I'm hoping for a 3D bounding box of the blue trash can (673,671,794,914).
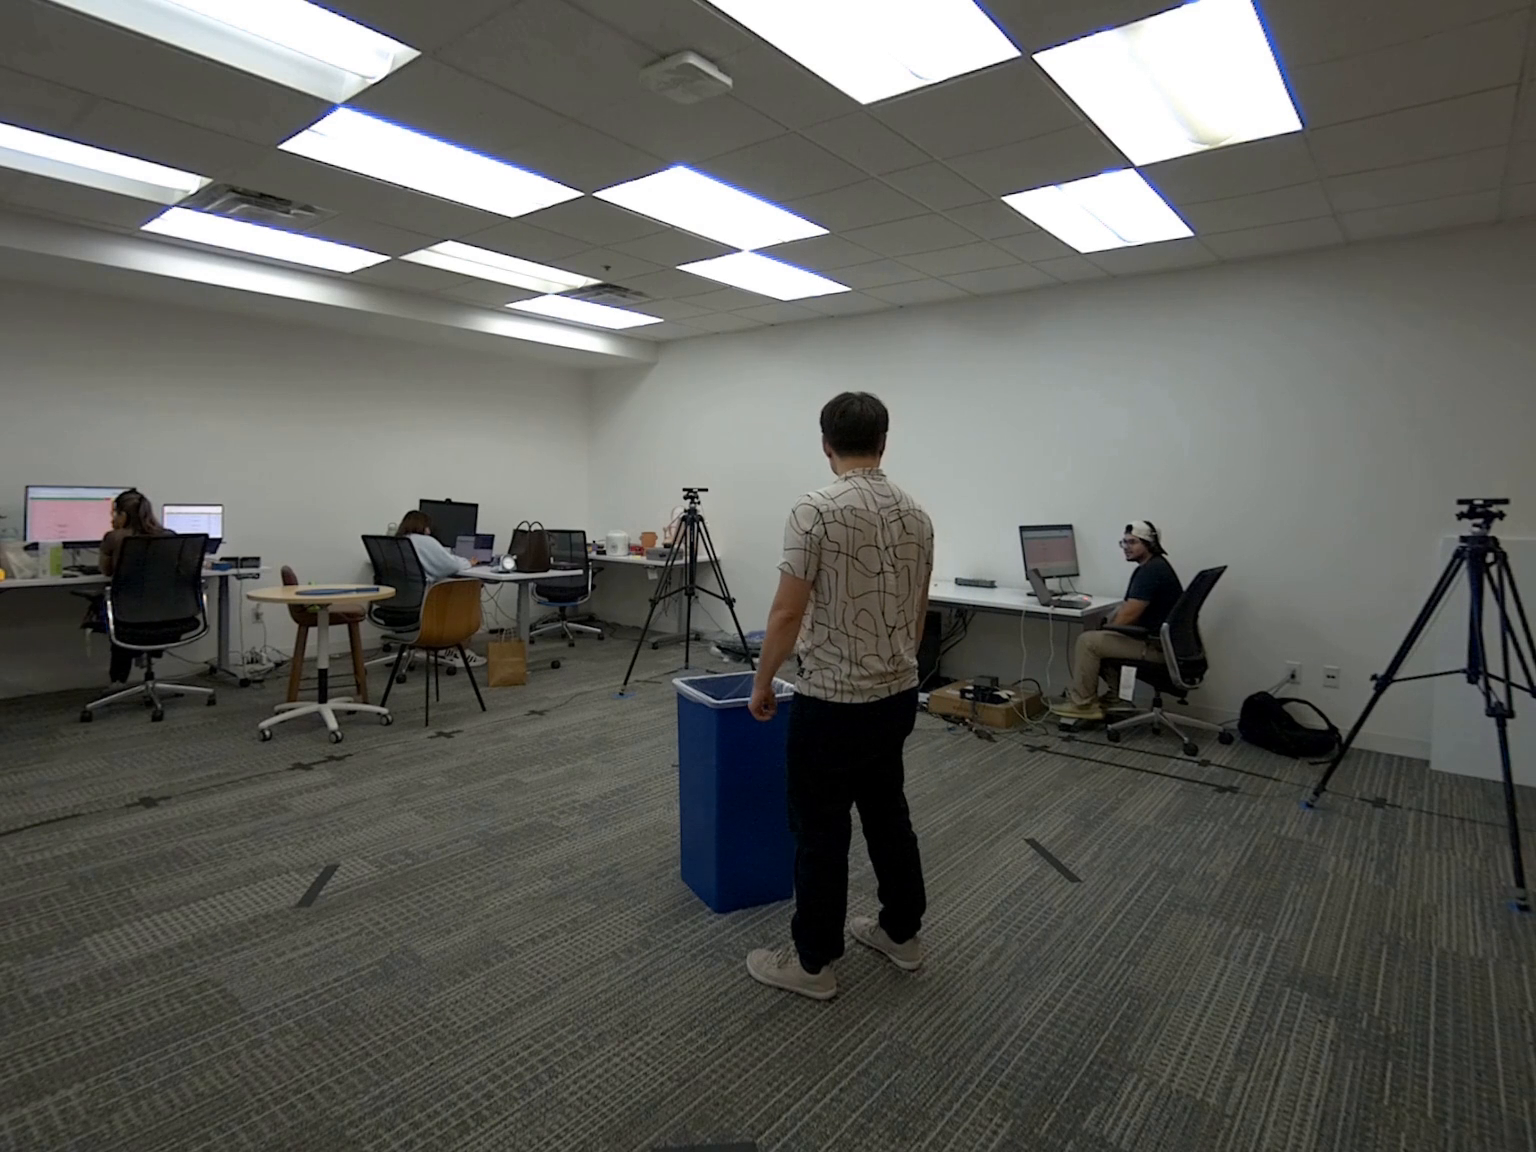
[{"bbox_3d":[-0.122,0.728,2.960,0.368,0.711,0.385,-1,4,-30],"label":"blue trash can"}]
